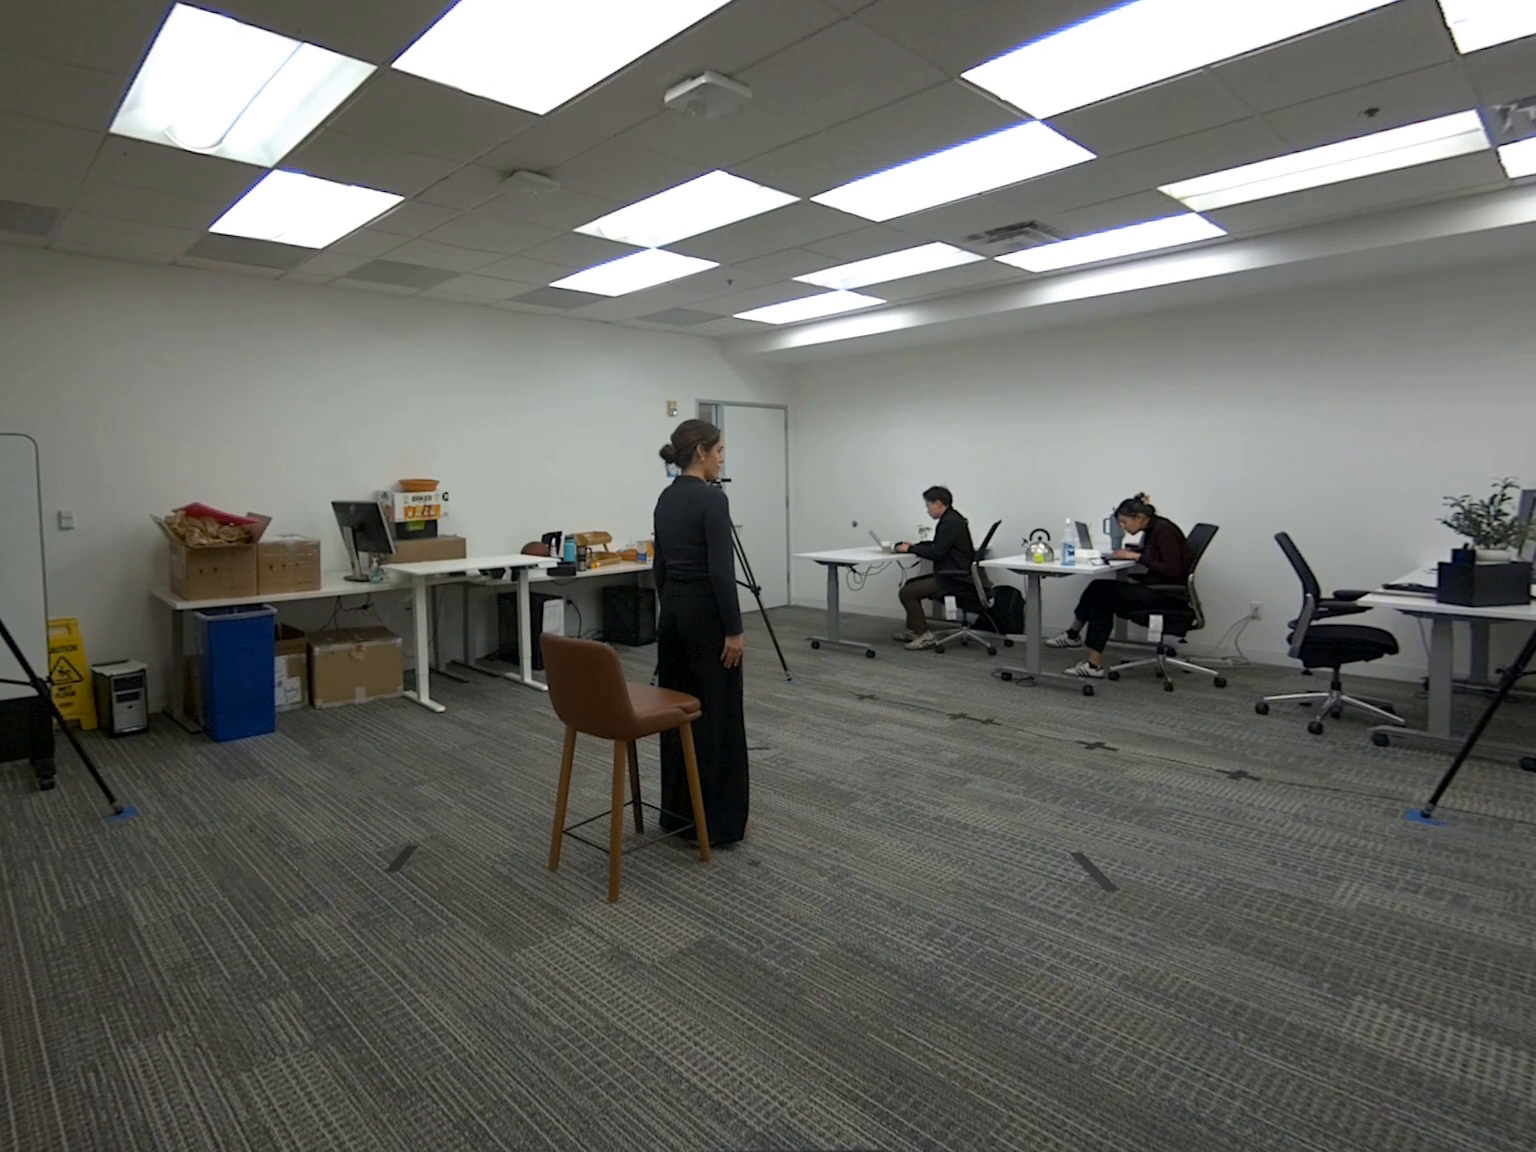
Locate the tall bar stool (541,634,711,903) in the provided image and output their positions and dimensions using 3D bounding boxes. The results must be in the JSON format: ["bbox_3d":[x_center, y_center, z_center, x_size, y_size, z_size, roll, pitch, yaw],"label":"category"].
[{"bbox_3d":[-0.523,0.621,3.081,0.470,0.885,0.456,3,8,43],"label":"tall bar stool"}]
